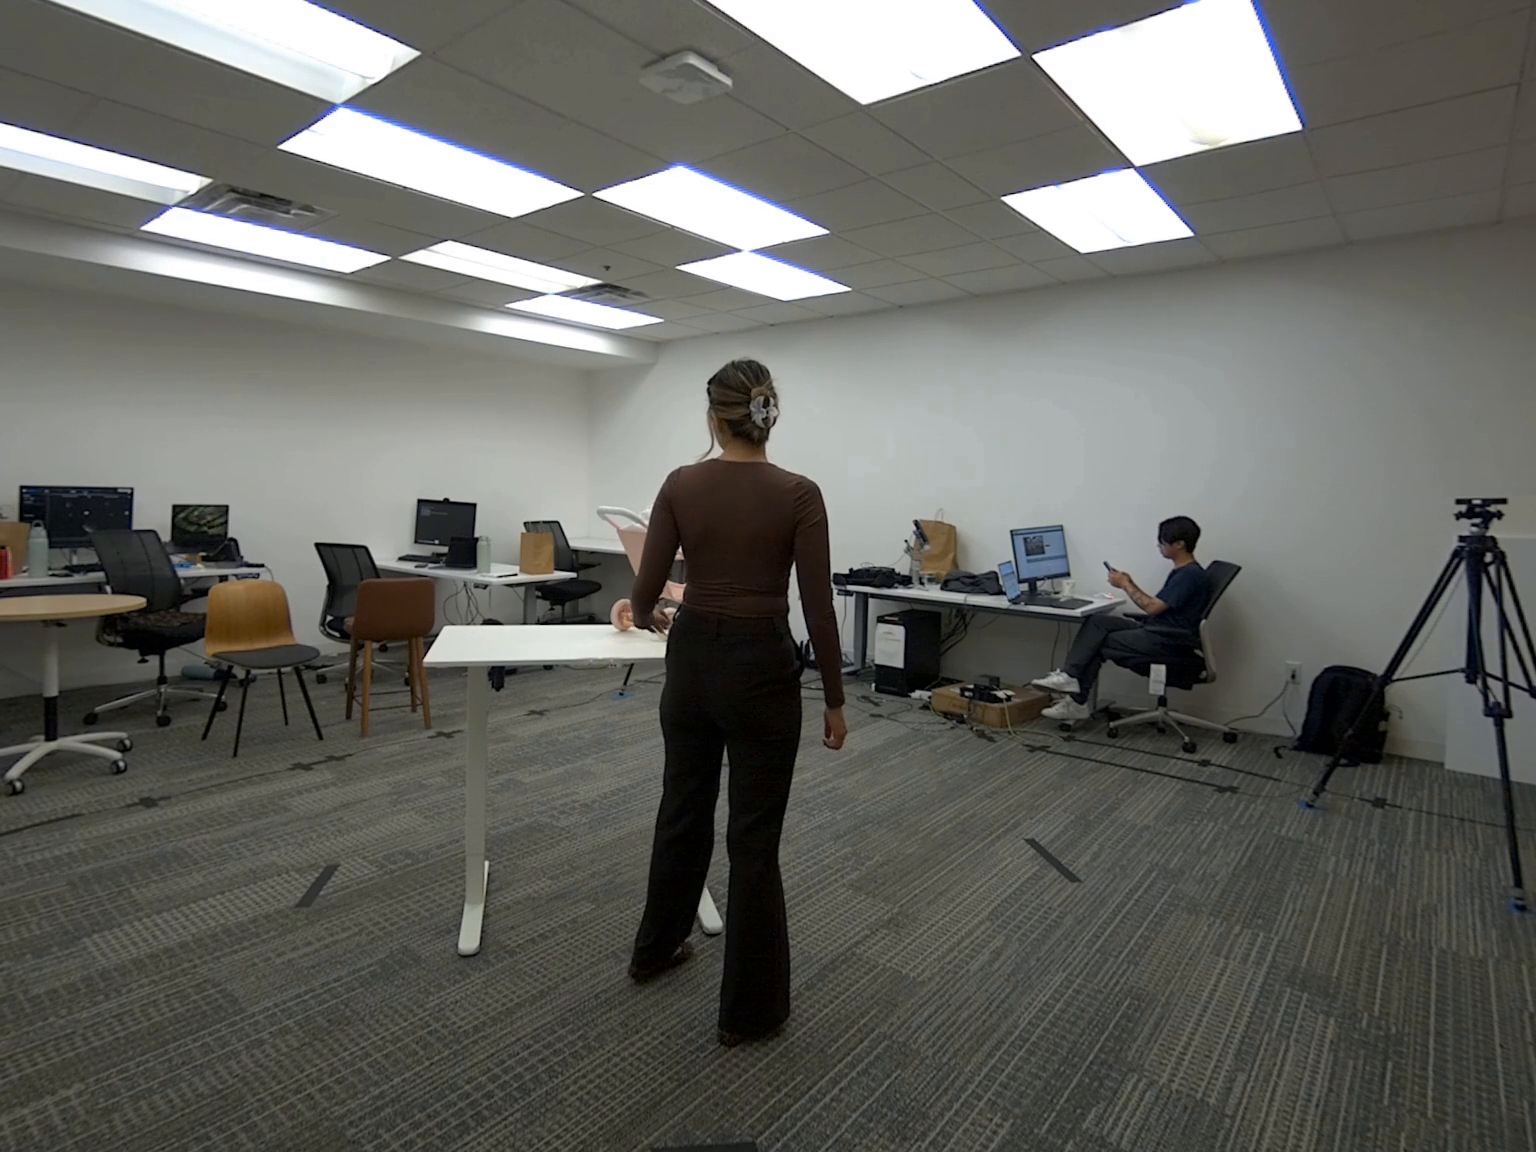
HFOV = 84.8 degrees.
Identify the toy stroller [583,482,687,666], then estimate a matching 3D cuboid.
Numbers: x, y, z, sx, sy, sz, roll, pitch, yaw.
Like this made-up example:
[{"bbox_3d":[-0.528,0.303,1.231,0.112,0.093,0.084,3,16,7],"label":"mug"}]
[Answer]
[{"bbox_3d":[-0.376,-0.026,2.948,0.335,0.527,0.291,-21,17,-38],"label":"toy stroller"}]
